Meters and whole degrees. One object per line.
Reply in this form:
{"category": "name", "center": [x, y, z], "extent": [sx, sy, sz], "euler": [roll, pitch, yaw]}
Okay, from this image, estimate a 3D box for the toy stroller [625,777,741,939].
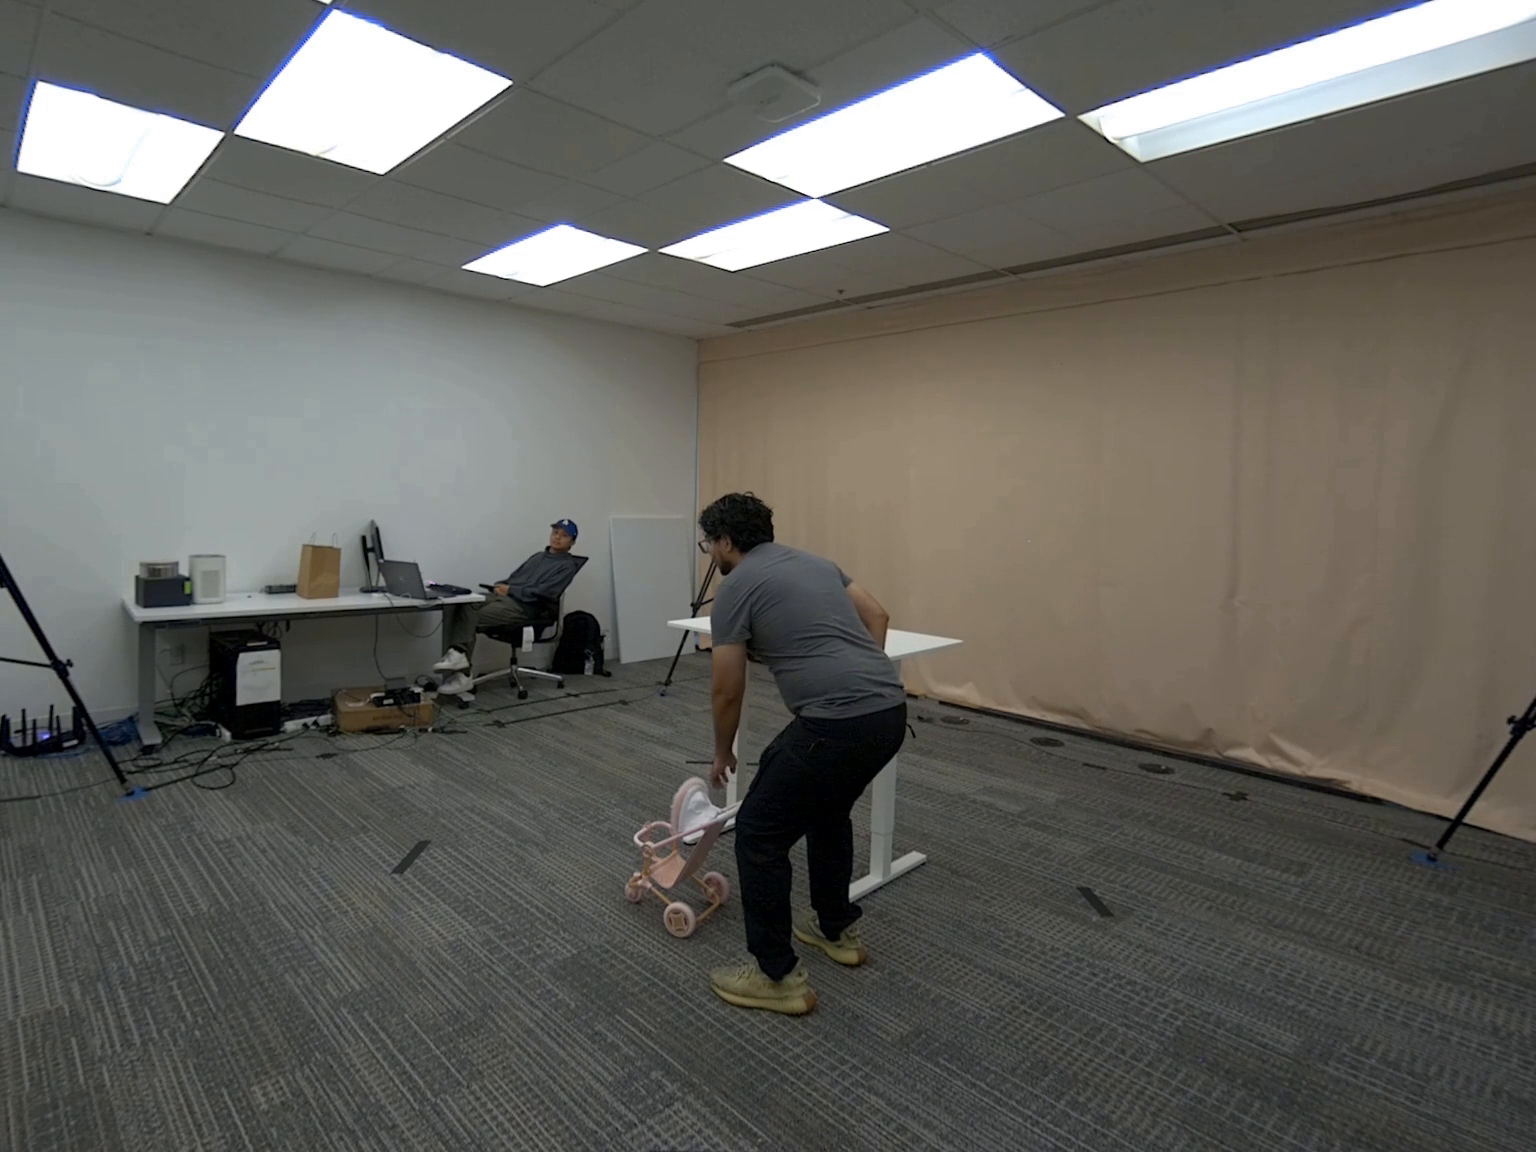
{"category": "toy stroller", "center": [-0.289, 0.910, 2.795], "extent": [0.350, 0.532, 0.276], "euler": [22, 12, 27]}
